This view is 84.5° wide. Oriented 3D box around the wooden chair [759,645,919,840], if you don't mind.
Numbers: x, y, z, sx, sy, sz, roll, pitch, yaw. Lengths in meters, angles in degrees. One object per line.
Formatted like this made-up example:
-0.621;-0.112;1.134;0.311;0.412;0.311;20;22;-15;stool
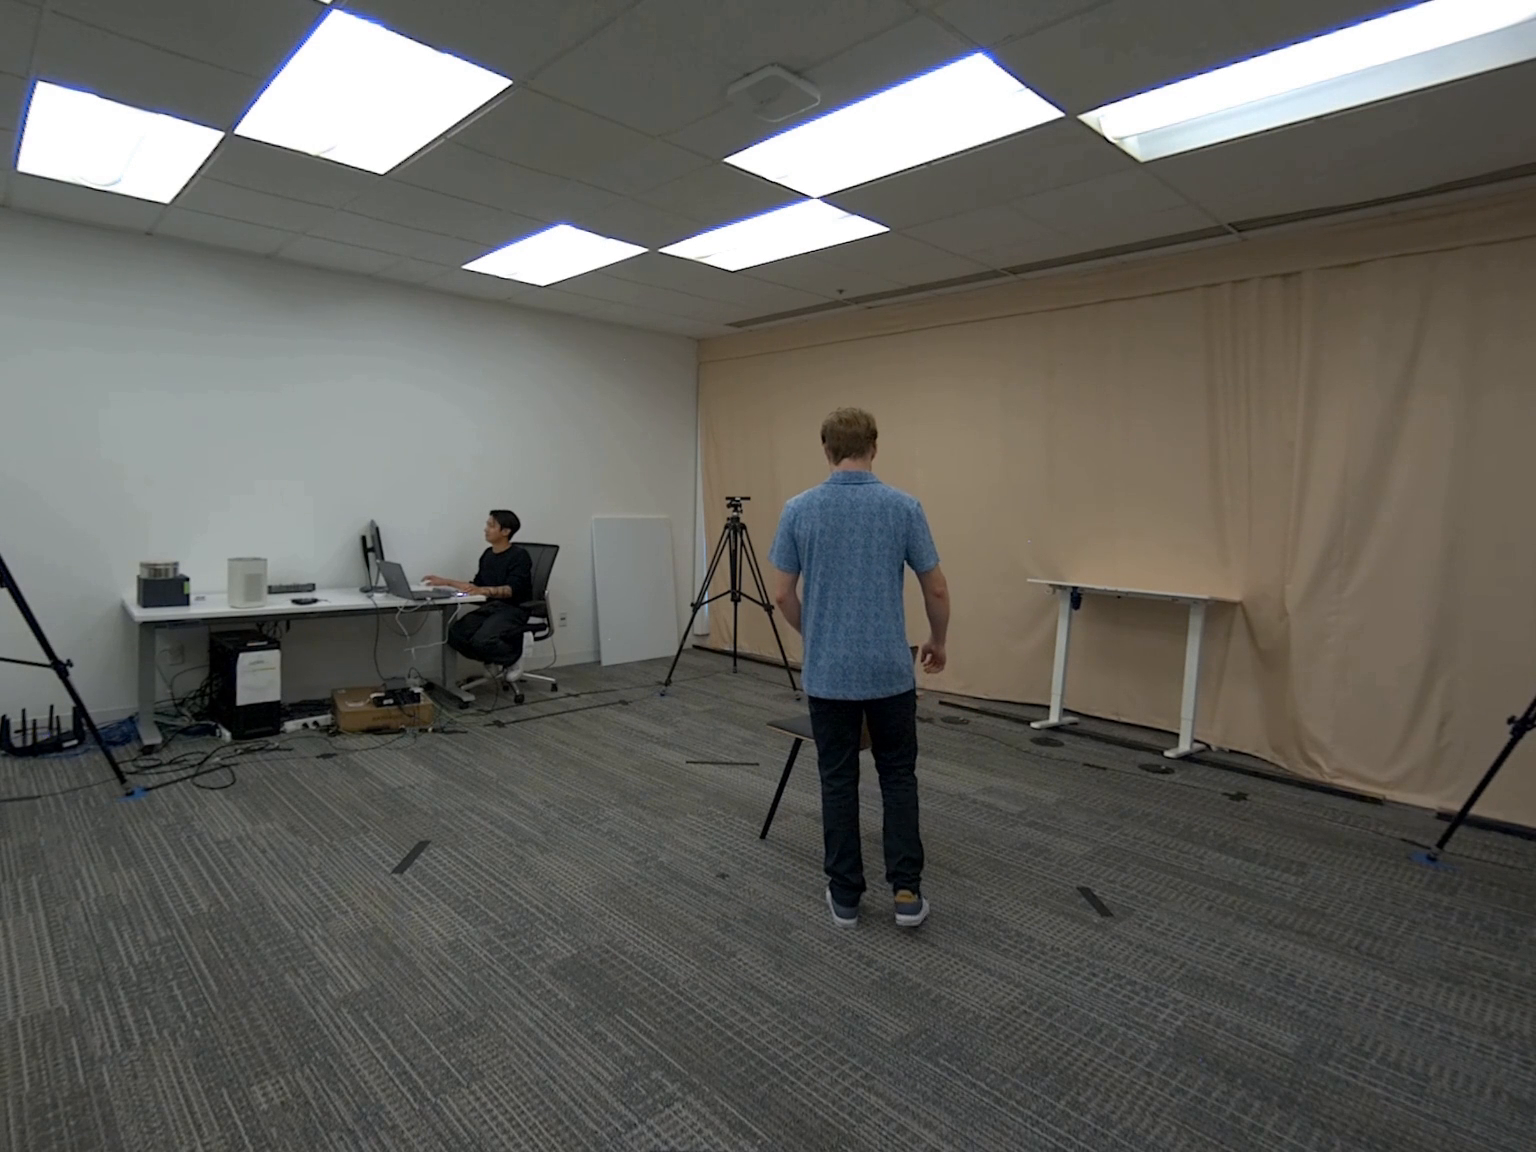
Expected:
0.286;0.665;3.412;0.467;0.873;0.537;-1;9;-44;wooden chair
